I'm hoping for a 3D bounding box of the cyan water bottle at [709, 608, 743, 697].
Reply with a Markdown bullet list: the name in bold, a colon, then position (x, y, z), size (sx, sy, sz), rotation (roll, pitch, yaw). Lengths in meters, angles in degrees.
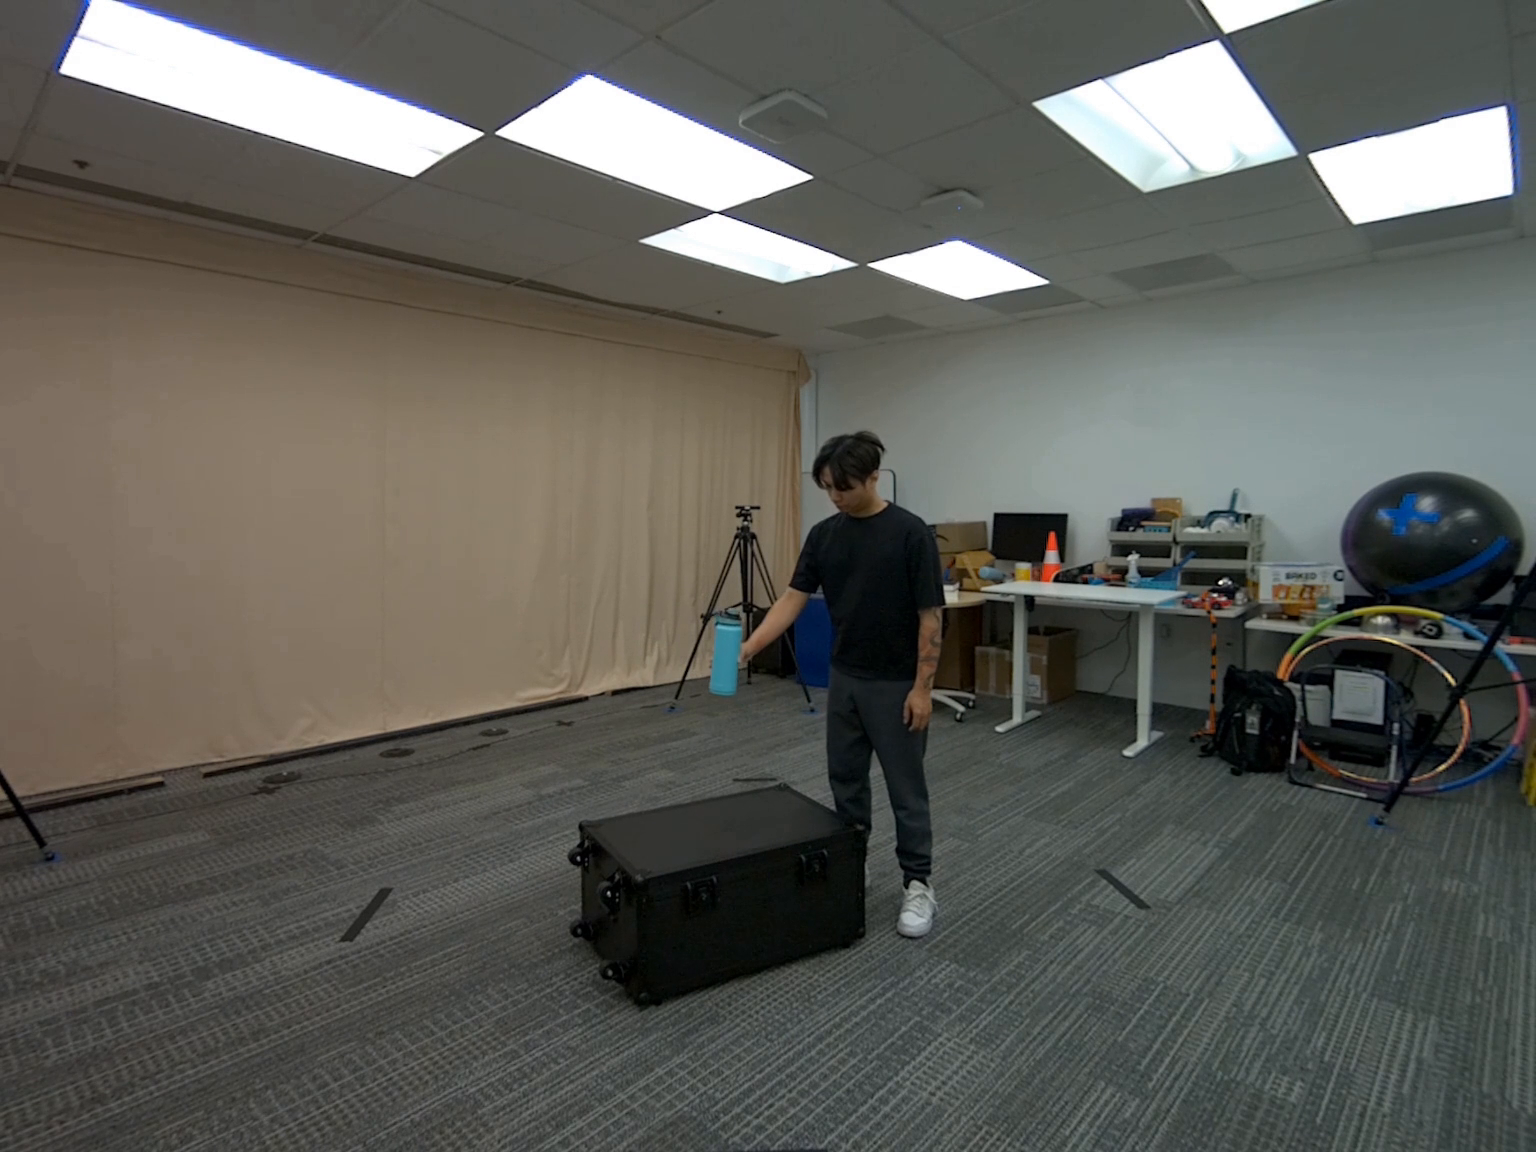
- **cyan water bottle**: position (-0.130, 0.253, 2.811), size (0.092, 0.283, 0.092), rotation (4, 0, -2)
